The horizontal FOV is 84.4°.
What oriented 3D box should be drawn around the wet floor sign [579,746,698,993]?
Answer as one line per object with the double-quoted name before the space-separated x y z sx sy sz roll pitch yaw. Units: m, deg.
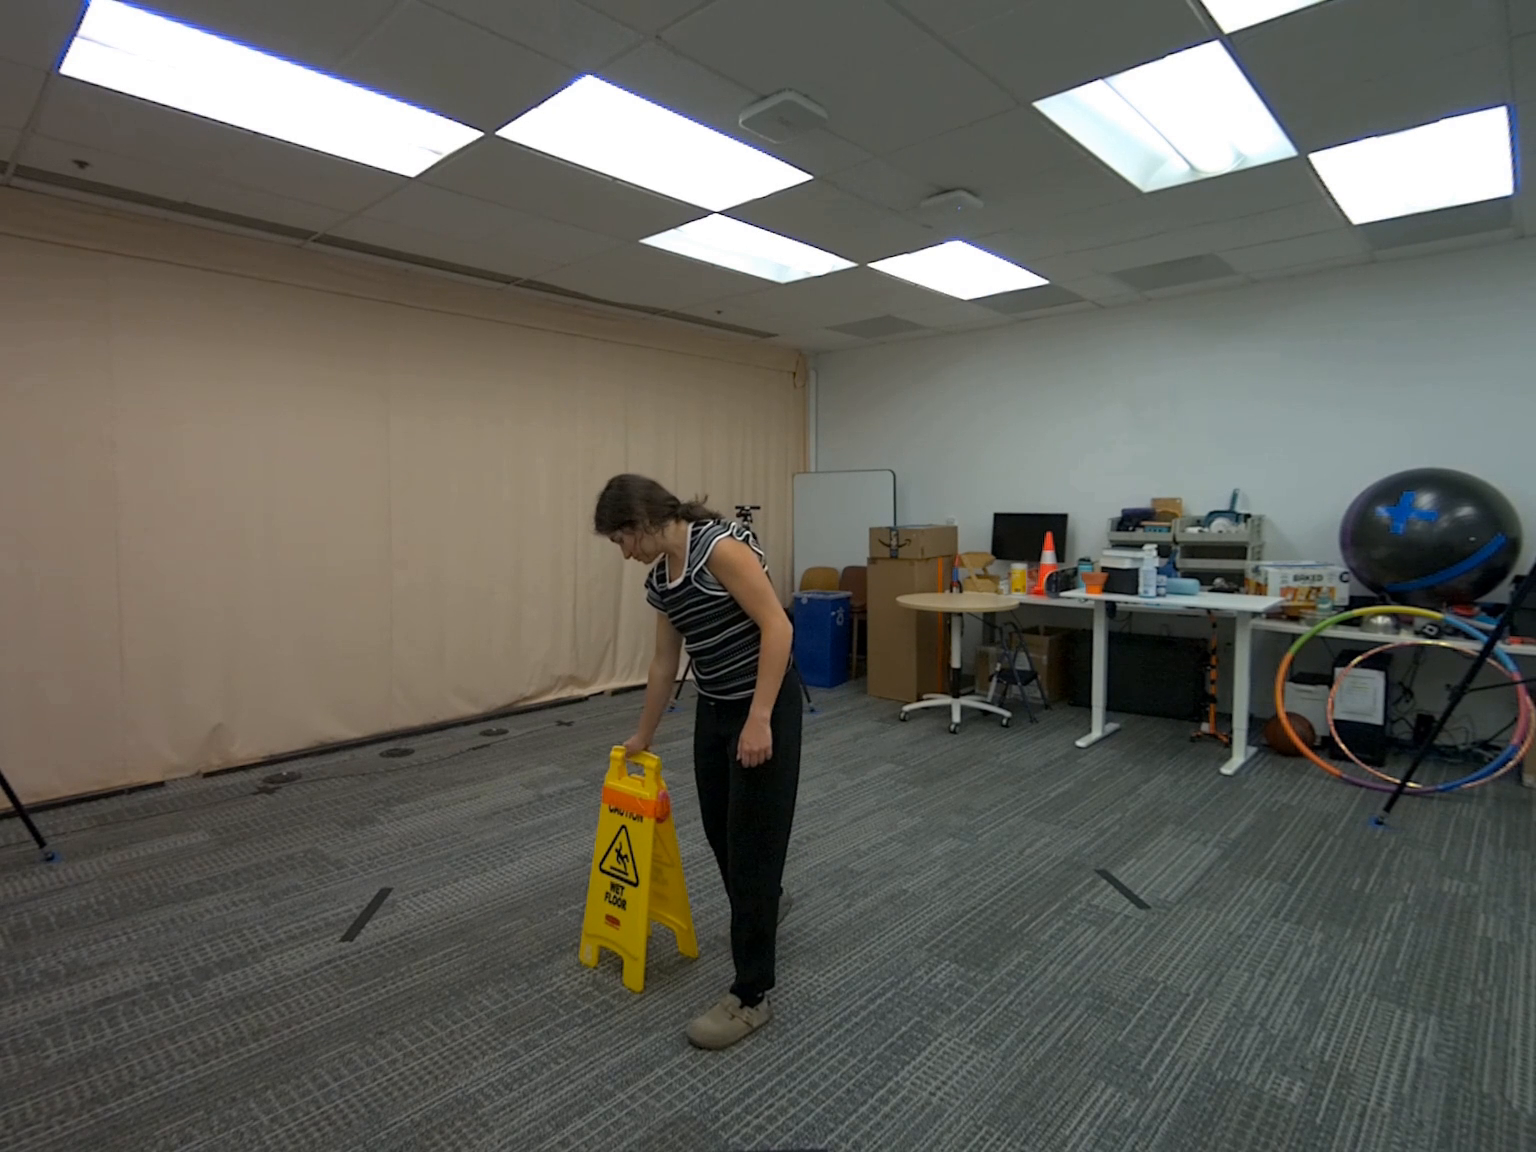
"wet floor sign" -0.401 0.859 2.570 0.291 0.644 0.281 1 4 38
